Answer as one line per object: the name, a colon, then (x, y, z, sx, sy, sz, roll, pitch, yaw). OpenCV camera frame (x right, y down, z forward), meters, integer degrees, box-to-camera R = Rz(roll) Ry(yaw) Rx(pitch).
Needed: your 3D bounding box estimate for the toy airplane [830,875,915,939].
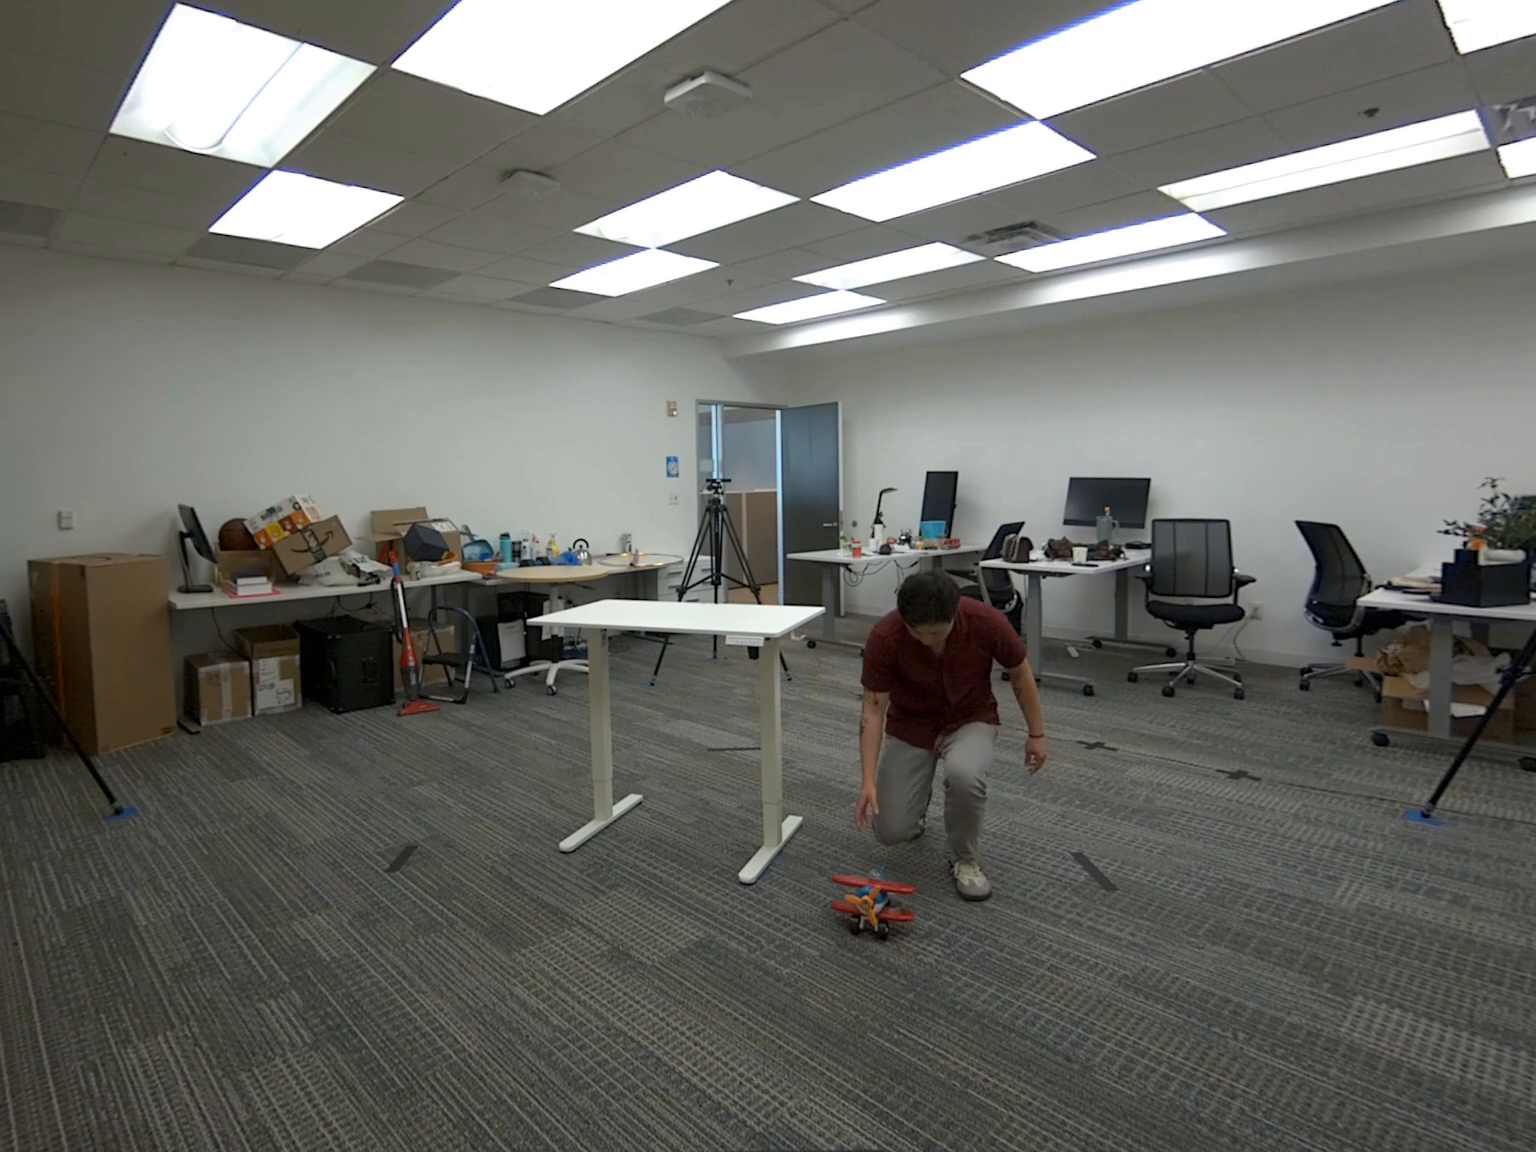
toy airplane: (0.320, 1.017, 2.685, 0.249, 0.156, 0.262, -3, 6, -8)
